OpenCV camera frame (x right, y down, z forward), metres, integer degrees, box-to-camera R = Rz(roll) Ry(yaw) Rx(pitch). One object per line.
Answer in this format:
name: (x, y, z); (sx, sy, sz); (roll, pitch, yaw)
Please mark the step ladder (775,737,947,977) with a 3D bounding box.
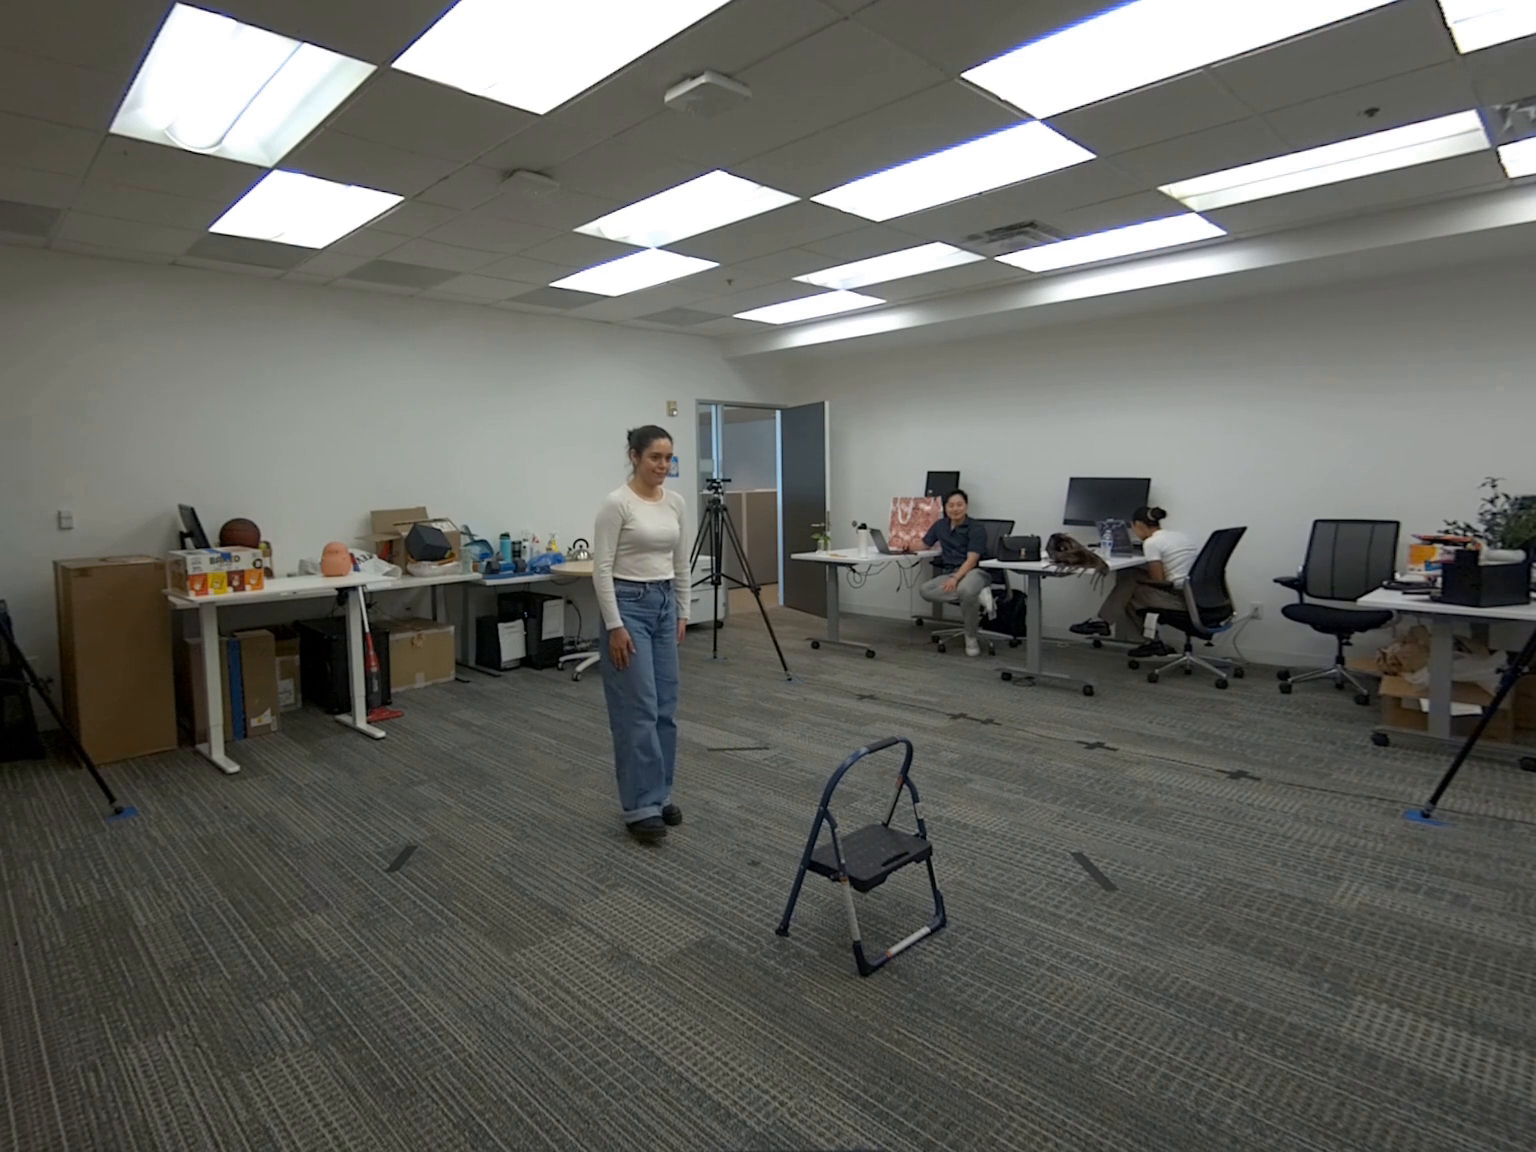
step ladder: (0.290, 0.791, 2.625); (0.360, 0.604, 0.419); (4, 6, 45)
